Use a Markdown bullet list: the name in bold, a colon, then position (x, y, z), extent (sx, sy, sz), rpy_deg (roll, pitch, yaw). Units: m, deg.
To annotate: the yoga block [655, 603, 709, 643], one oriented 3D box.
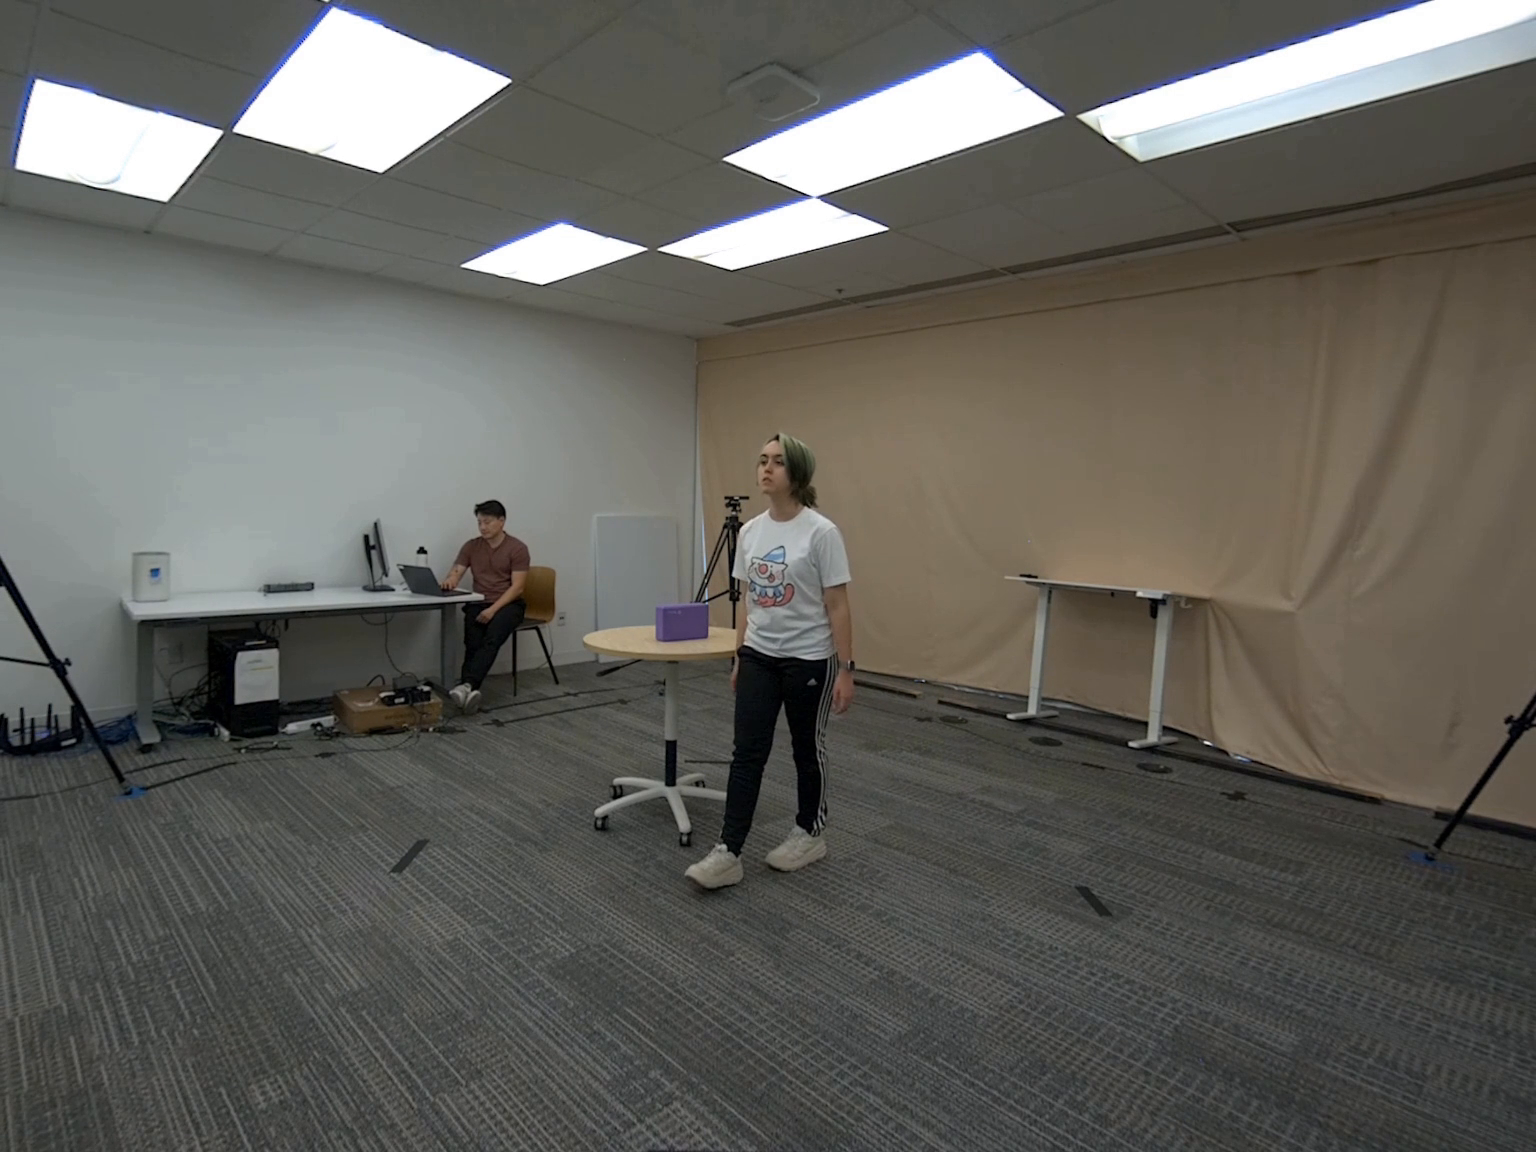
- **yoga block**: position (-0.372, 0.194, 3.600), extent (0.224, 0.149, 0.078), rpy_deg (-1, 4, -37)
